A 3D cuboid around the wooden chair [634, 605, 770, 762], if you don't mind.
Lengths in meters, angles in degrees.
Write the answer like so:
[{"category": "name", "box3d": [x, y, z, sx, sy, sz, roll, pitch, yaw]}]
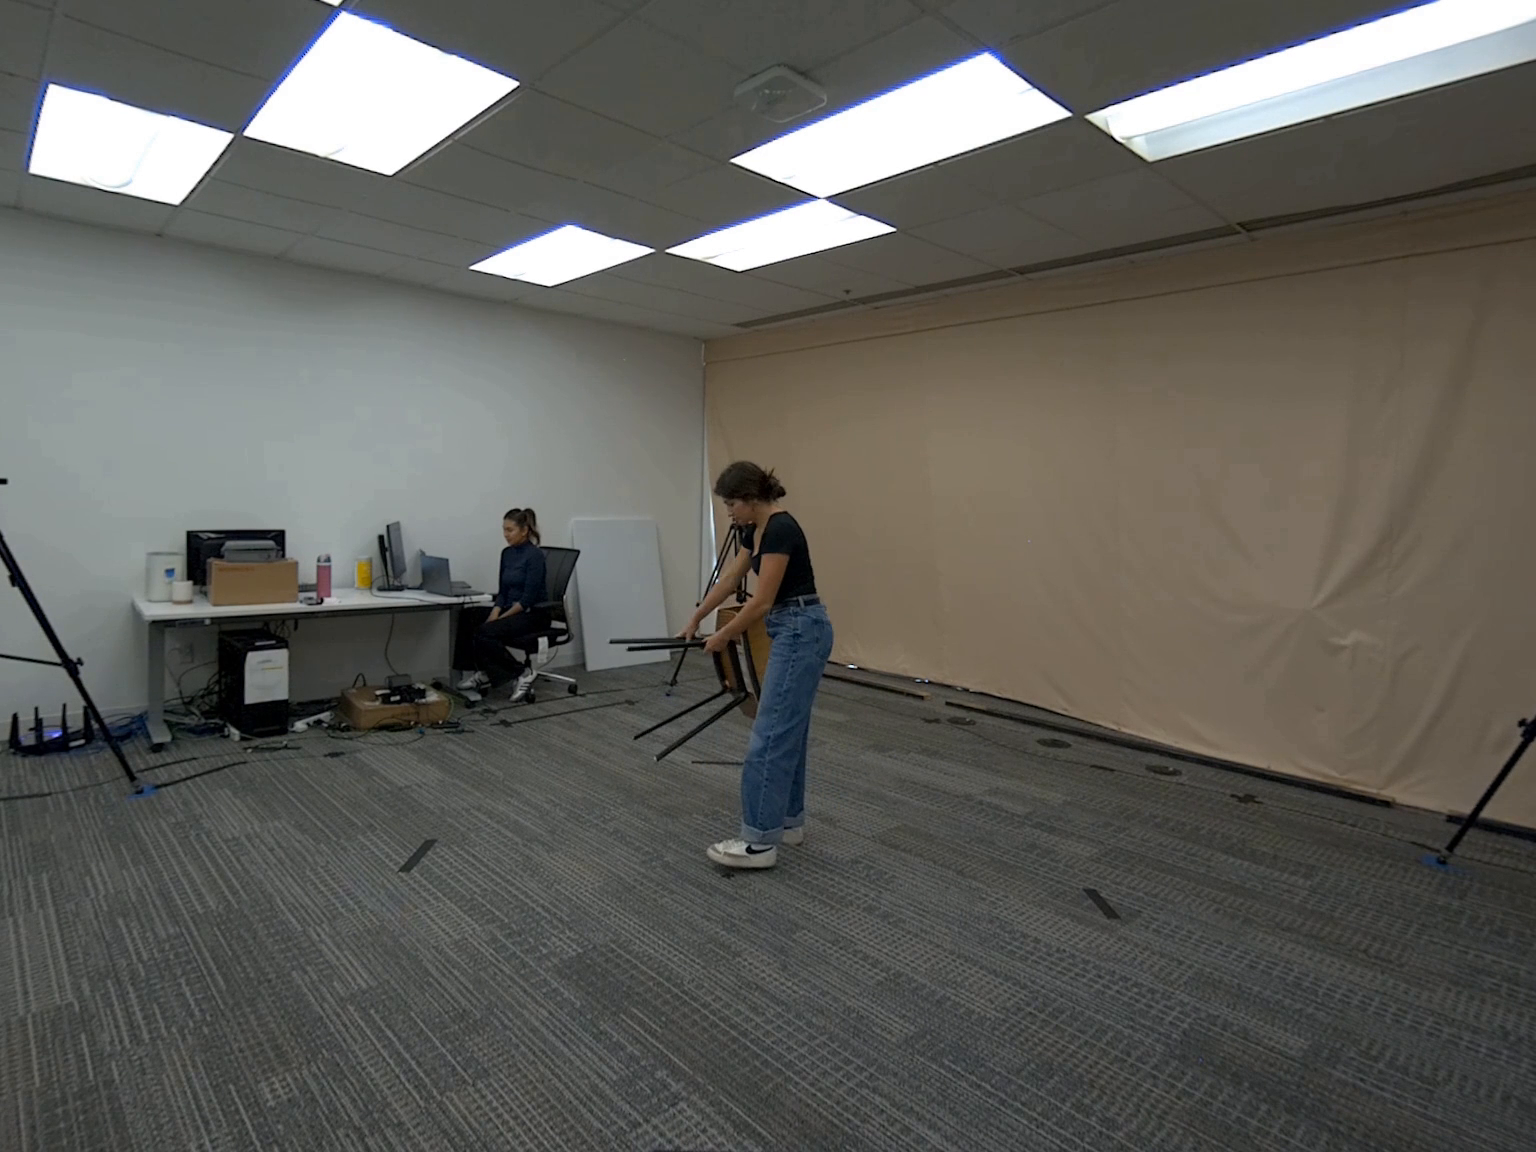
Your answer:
[{"category": "wooden chair", "box3d": [-0.176, 0.389, 3.537, 0.867, 0.477, 0.531, -16, 4, -22]}]
